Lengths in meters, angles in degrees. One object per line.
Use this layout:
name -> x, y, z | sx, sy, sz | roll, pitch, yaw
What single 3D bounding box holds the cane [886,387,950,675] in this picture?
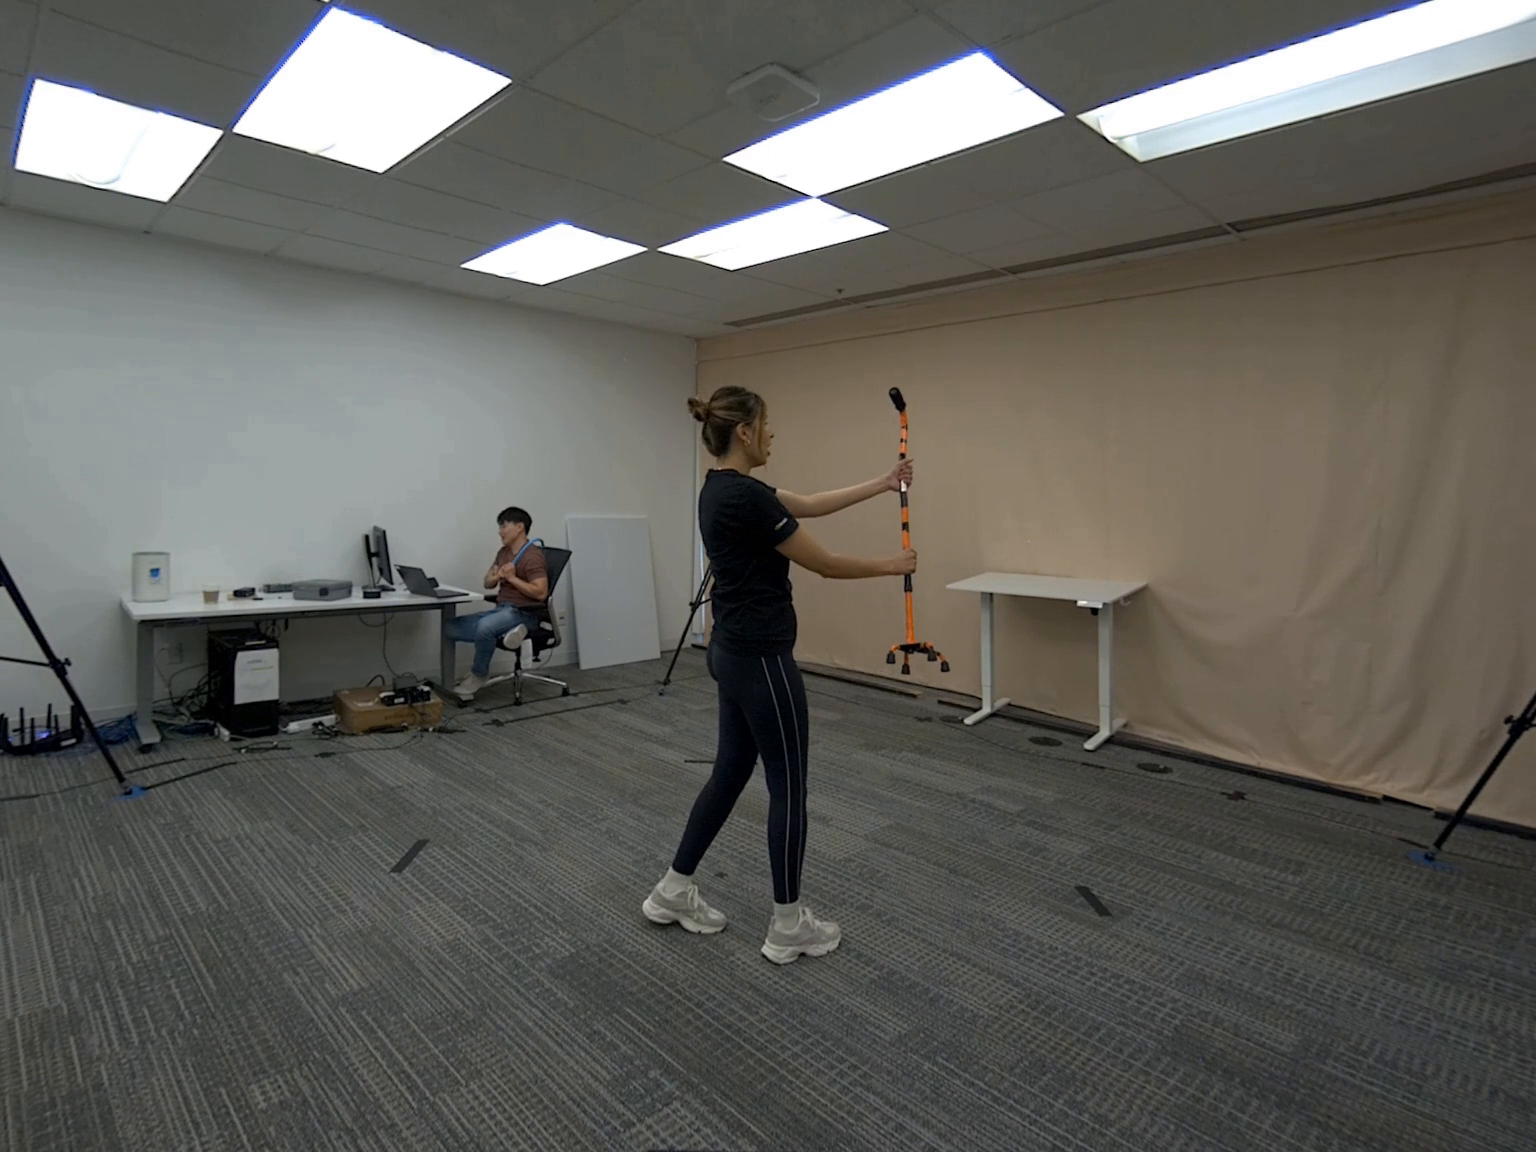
cane -> 0.461, -0.164, 2.694 | 0.154, 0.920, 0.201 | -8, -20, 22
